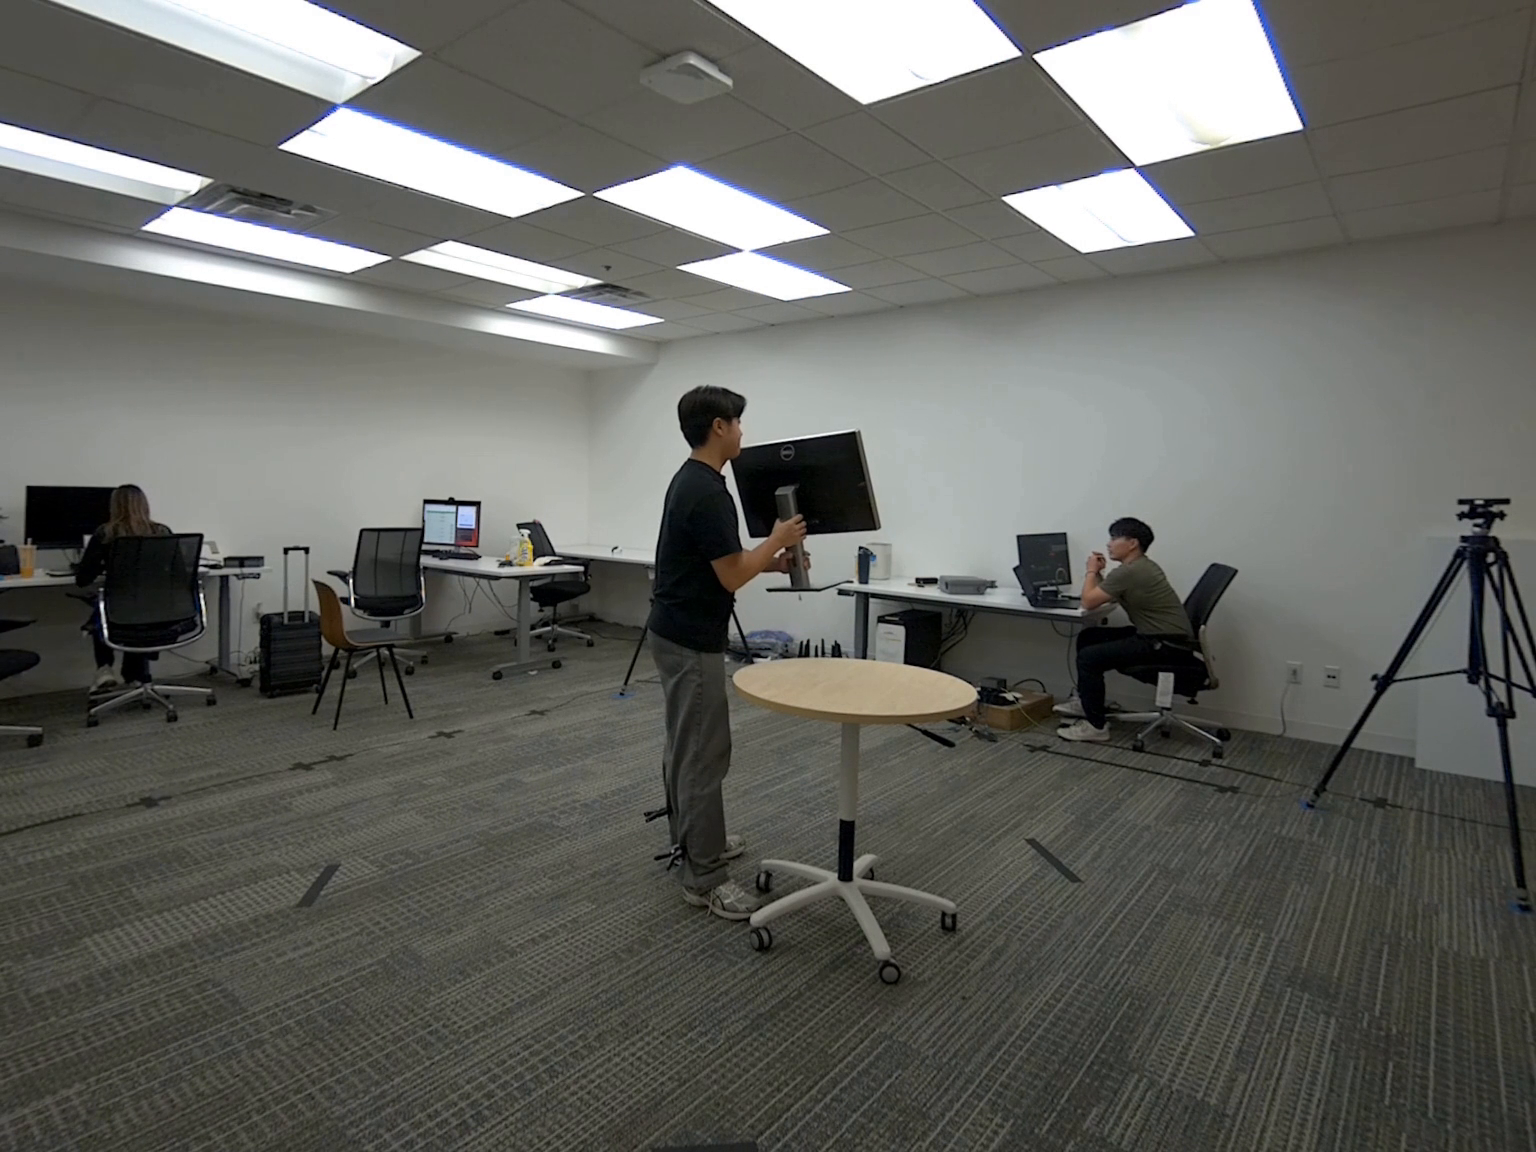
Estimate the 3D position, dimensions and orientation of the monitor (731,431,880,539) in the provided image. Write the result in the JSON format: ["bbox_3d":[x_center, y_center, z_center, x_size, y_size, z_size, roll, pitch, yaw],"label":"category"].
[{"bbox_3d":[0.107,-0.216,3.075,0.579,0.564,0.216,-1,4,39],"label":"monitor"}]
